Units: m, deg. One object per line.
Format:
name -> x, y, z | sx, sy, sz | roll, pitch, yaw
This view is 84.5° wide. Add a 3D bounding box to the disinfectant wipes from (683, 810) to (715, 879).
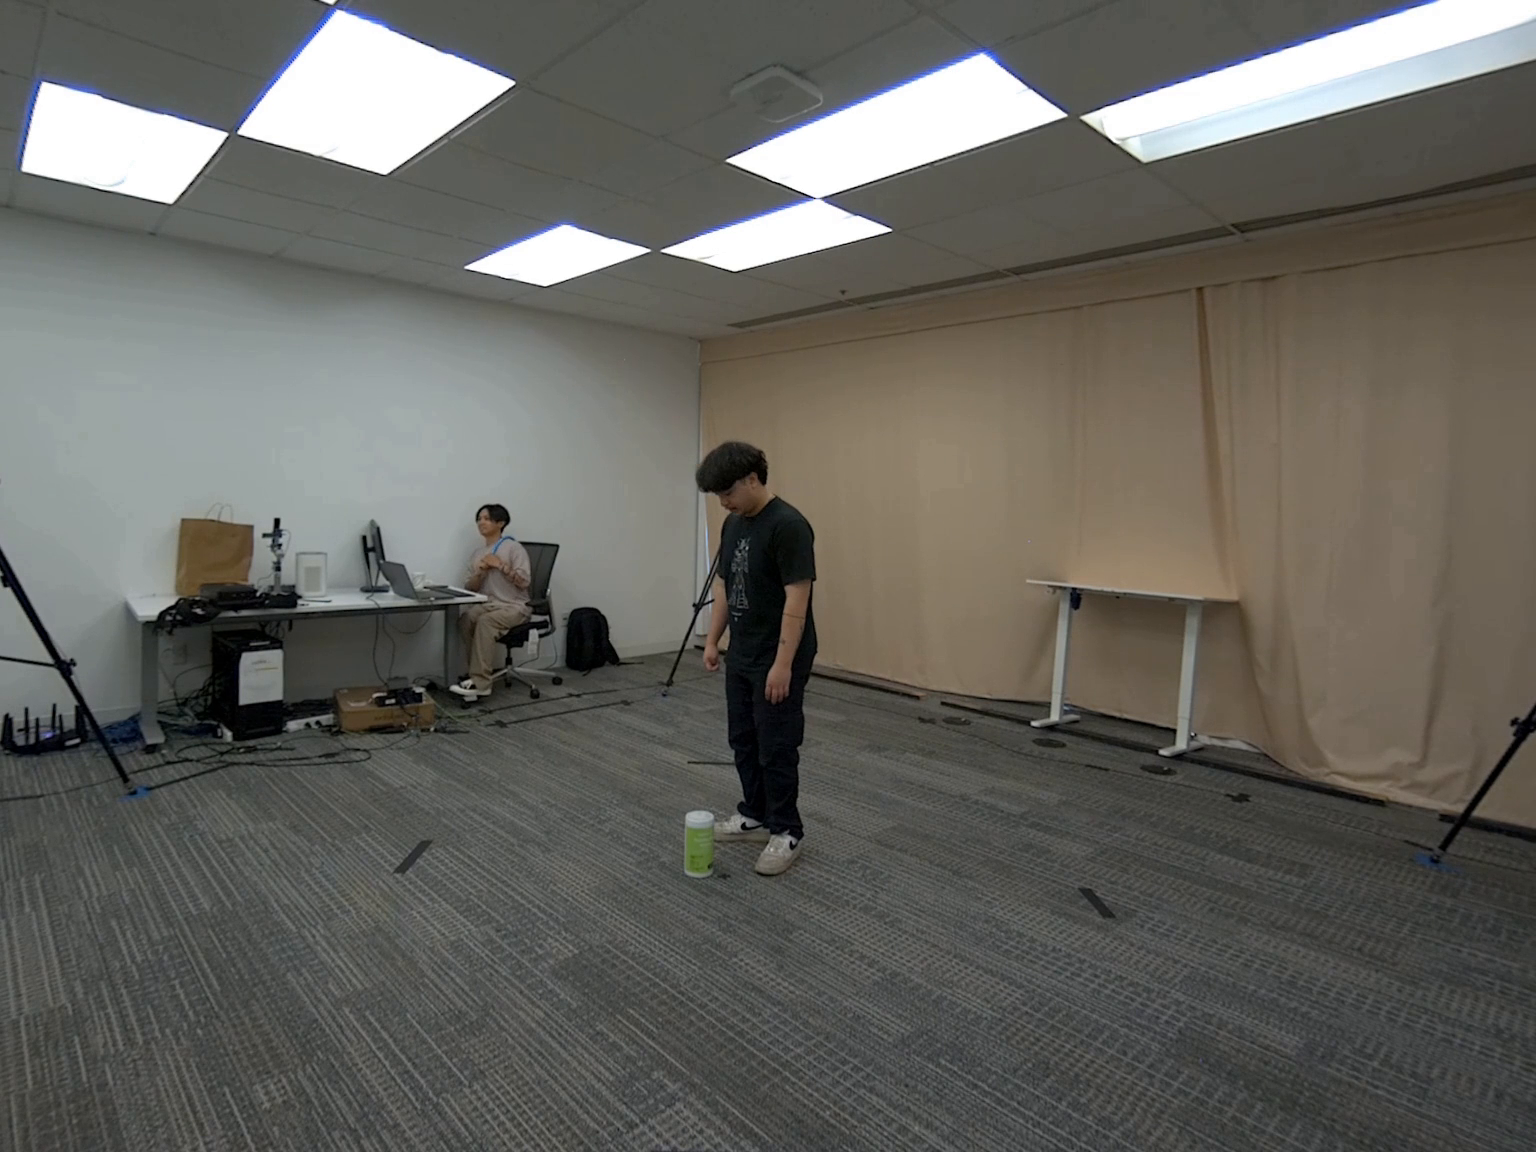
disinfectant wipes -> -0.265, 0.999, 3.123 | 0.118, 0.217, 0.118 | 2, 3, -1
